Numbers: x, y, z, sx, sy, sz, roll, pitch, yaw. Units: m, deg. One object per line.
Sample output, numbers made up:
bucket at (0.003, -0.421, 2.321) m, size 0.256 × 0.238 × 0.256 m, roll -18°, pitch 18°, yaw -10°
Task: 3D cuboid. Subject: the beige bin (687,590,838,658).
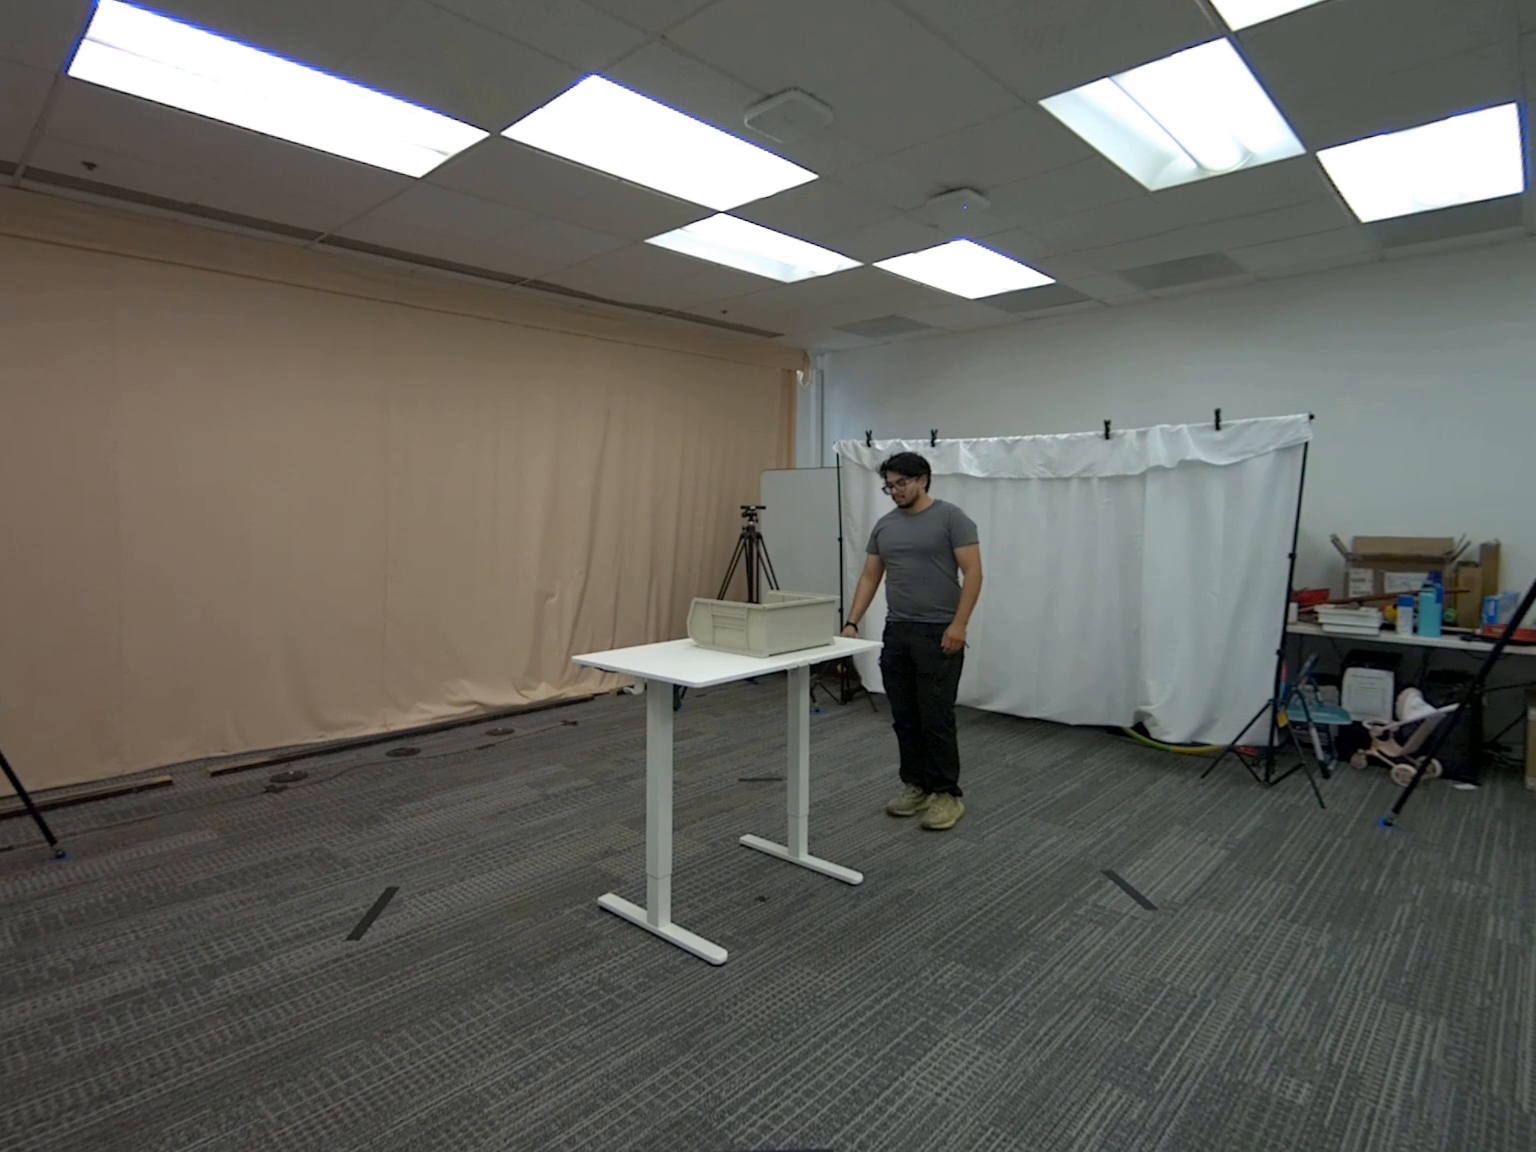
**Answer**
beige bin at (-0.017, 0.167, 3.069) m, size 0.390 × 0.188 × 0.409 m, roll 6°, pitch 6°, yaw 42°
